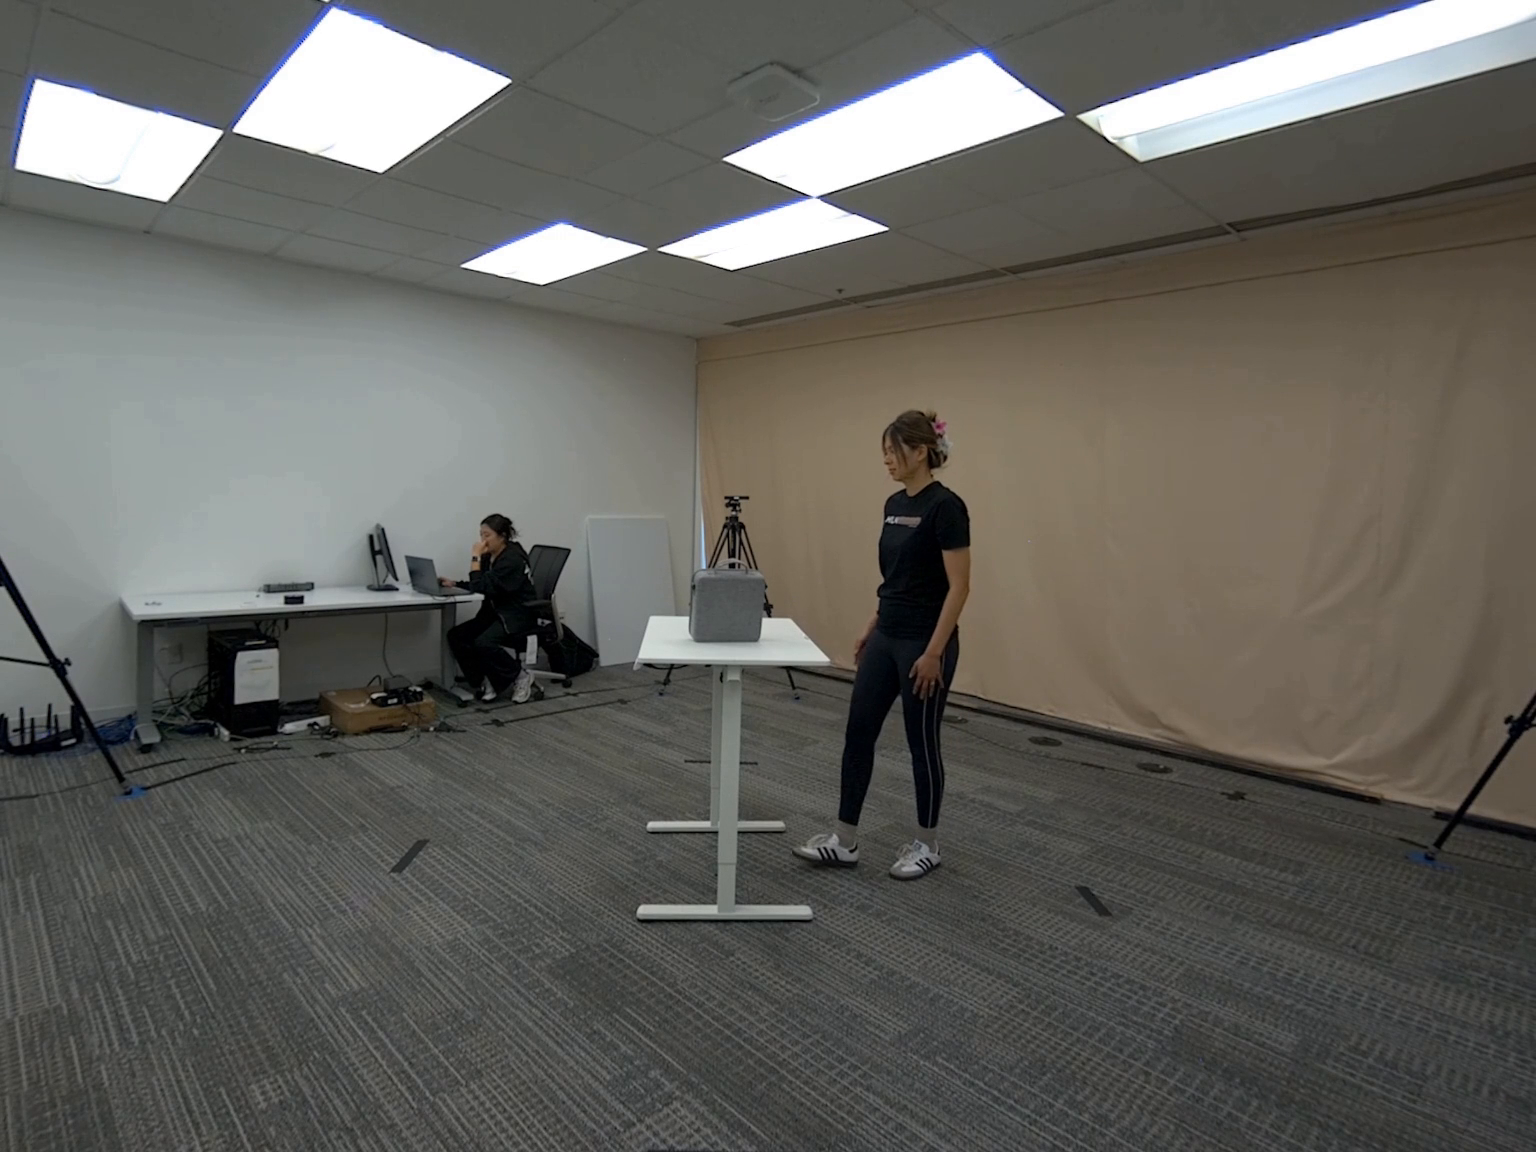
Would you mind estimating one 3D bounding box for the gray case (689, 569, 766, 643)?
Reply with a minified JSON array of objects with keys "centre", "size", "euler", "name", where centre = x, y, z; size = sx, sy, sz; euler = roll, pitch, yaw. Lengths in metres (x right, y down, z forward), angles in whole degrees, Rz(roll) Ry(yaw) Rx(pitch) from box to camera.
[{"centre":[-0.155,0.102,2.960],"size":[0.254,0.258,0.106],"euler":[0,13,-13],"name":"gray case"}]
